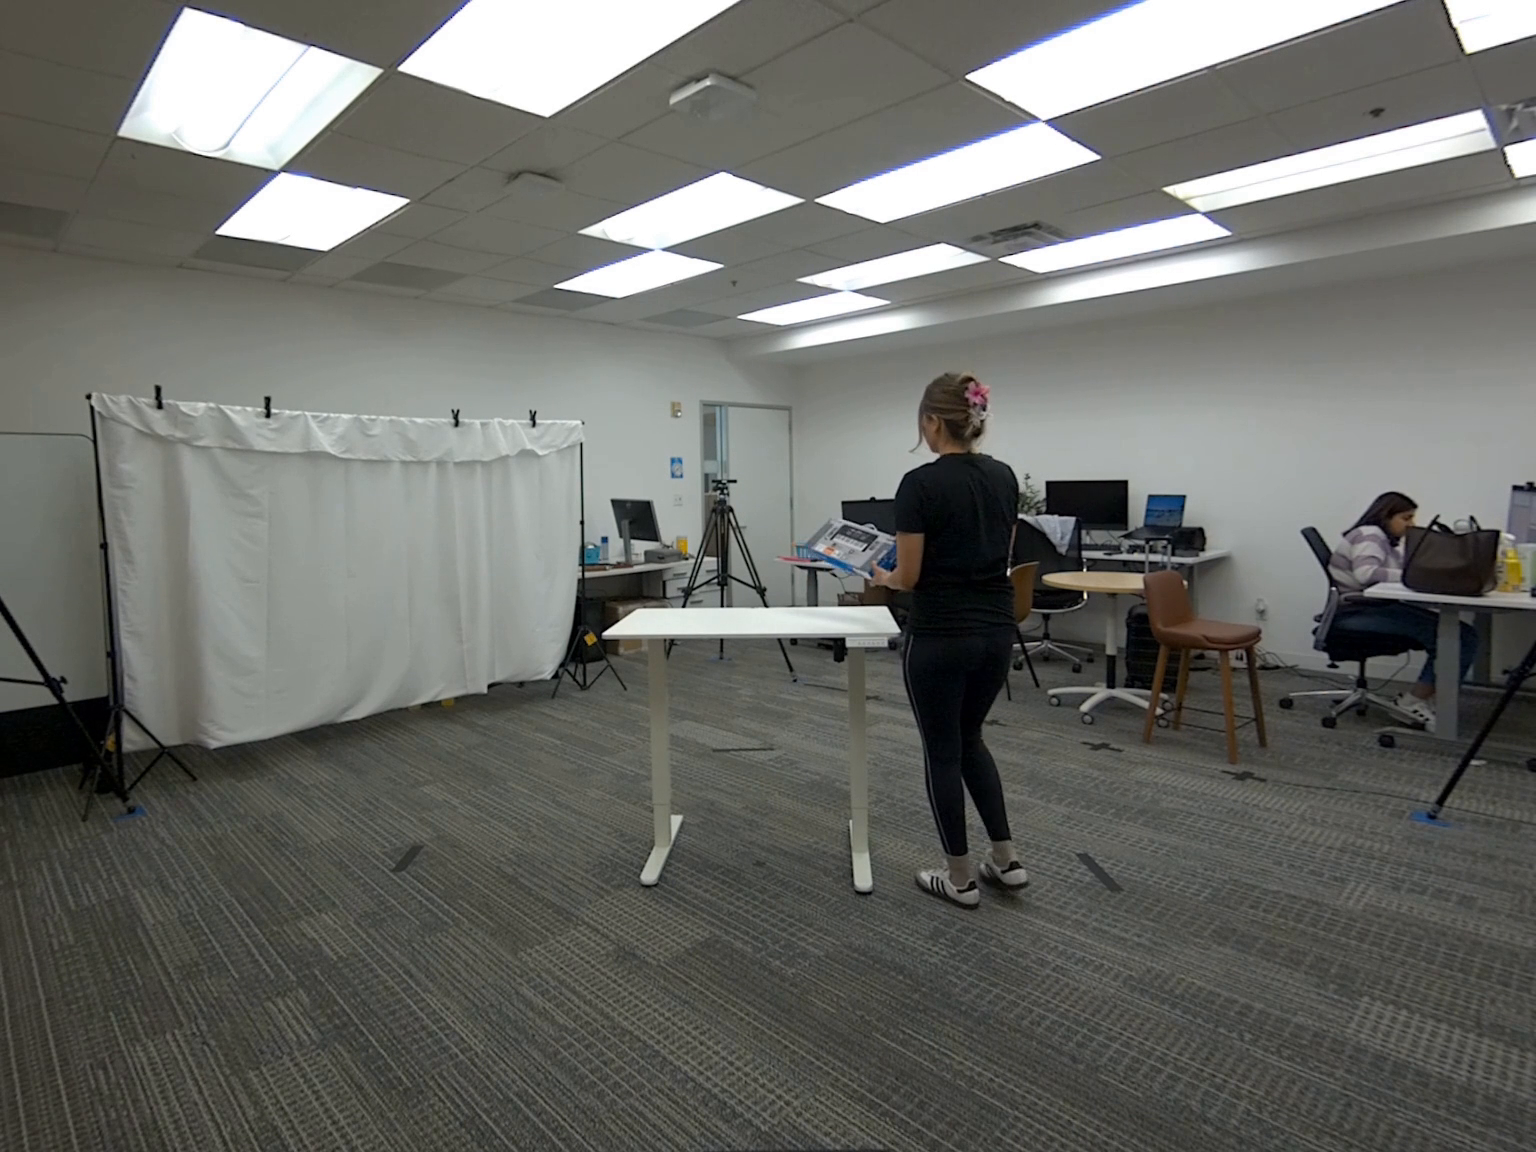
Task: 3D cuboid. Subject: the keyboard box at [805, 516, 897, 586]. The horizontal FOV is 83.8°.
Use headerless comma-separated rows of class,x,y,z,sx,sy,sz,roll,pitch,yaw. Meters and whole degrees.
keyboard box,0.328,-0.104,3.220,0.176,0.057,0.451,-45,29,-10
